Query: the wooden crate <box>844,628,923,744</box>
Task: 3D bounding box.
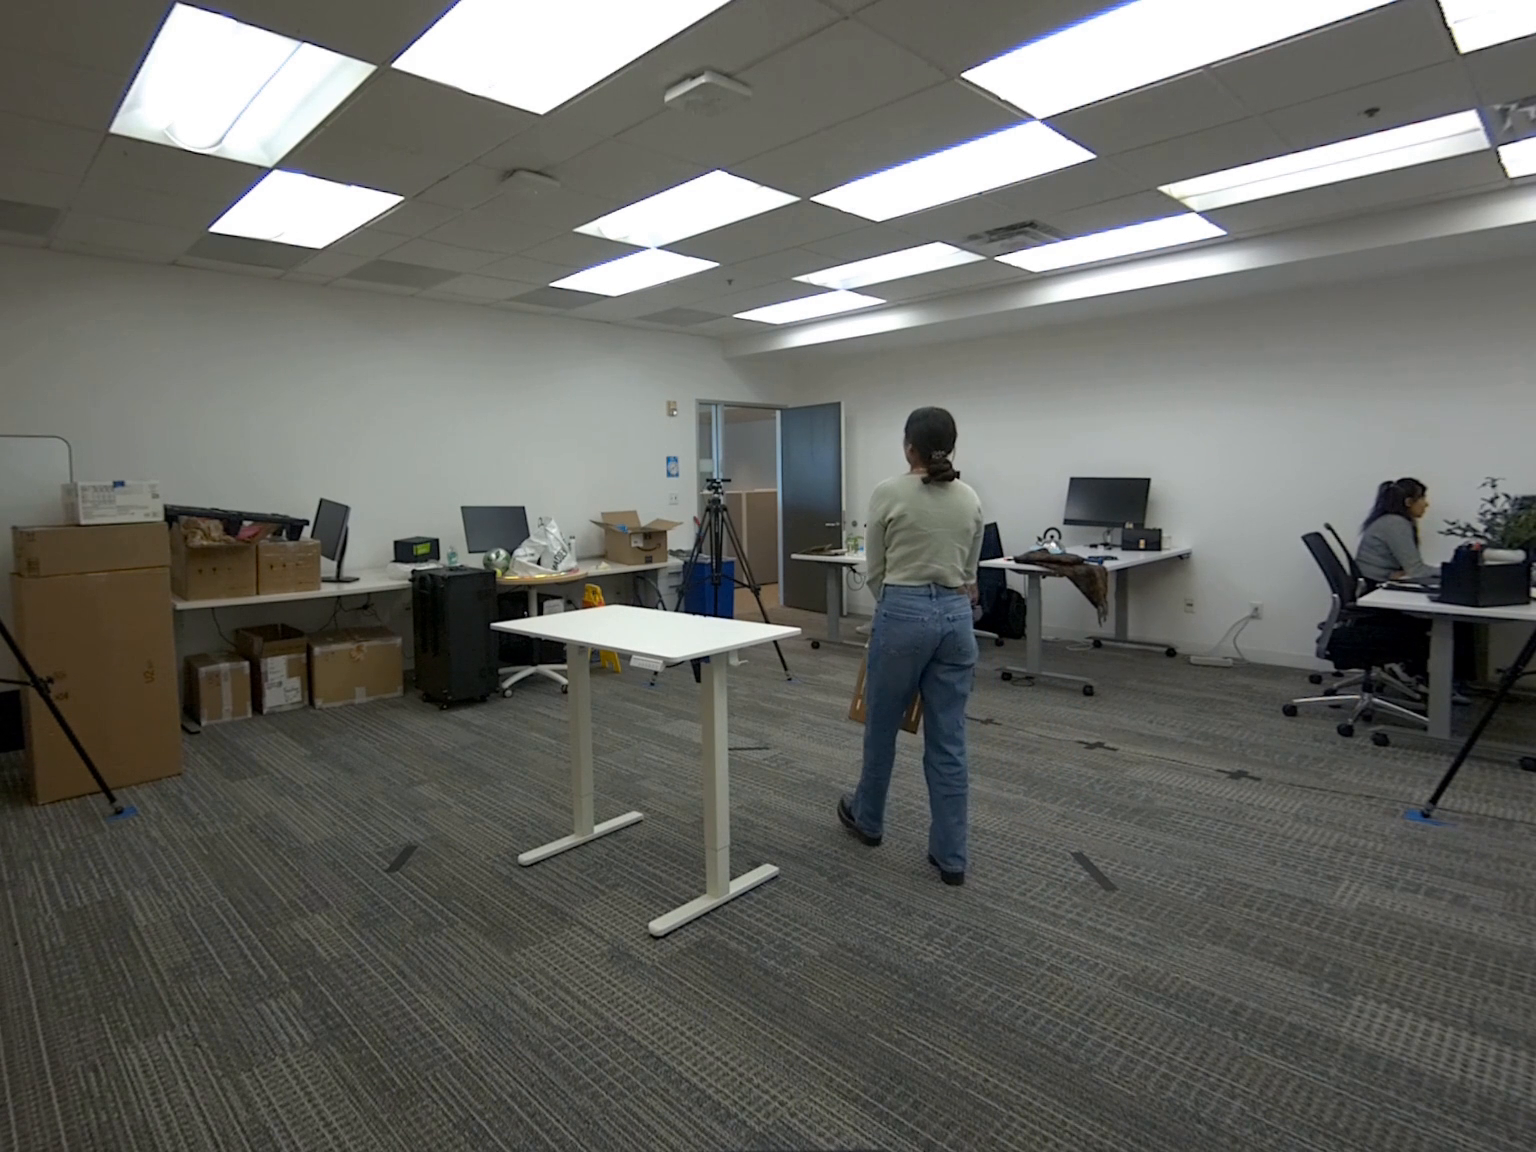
[{"bbox_3d":[0.494,0.393,3.304,0.279,0.320,0.300,16,18,16],"label":"wooden crate"}]
